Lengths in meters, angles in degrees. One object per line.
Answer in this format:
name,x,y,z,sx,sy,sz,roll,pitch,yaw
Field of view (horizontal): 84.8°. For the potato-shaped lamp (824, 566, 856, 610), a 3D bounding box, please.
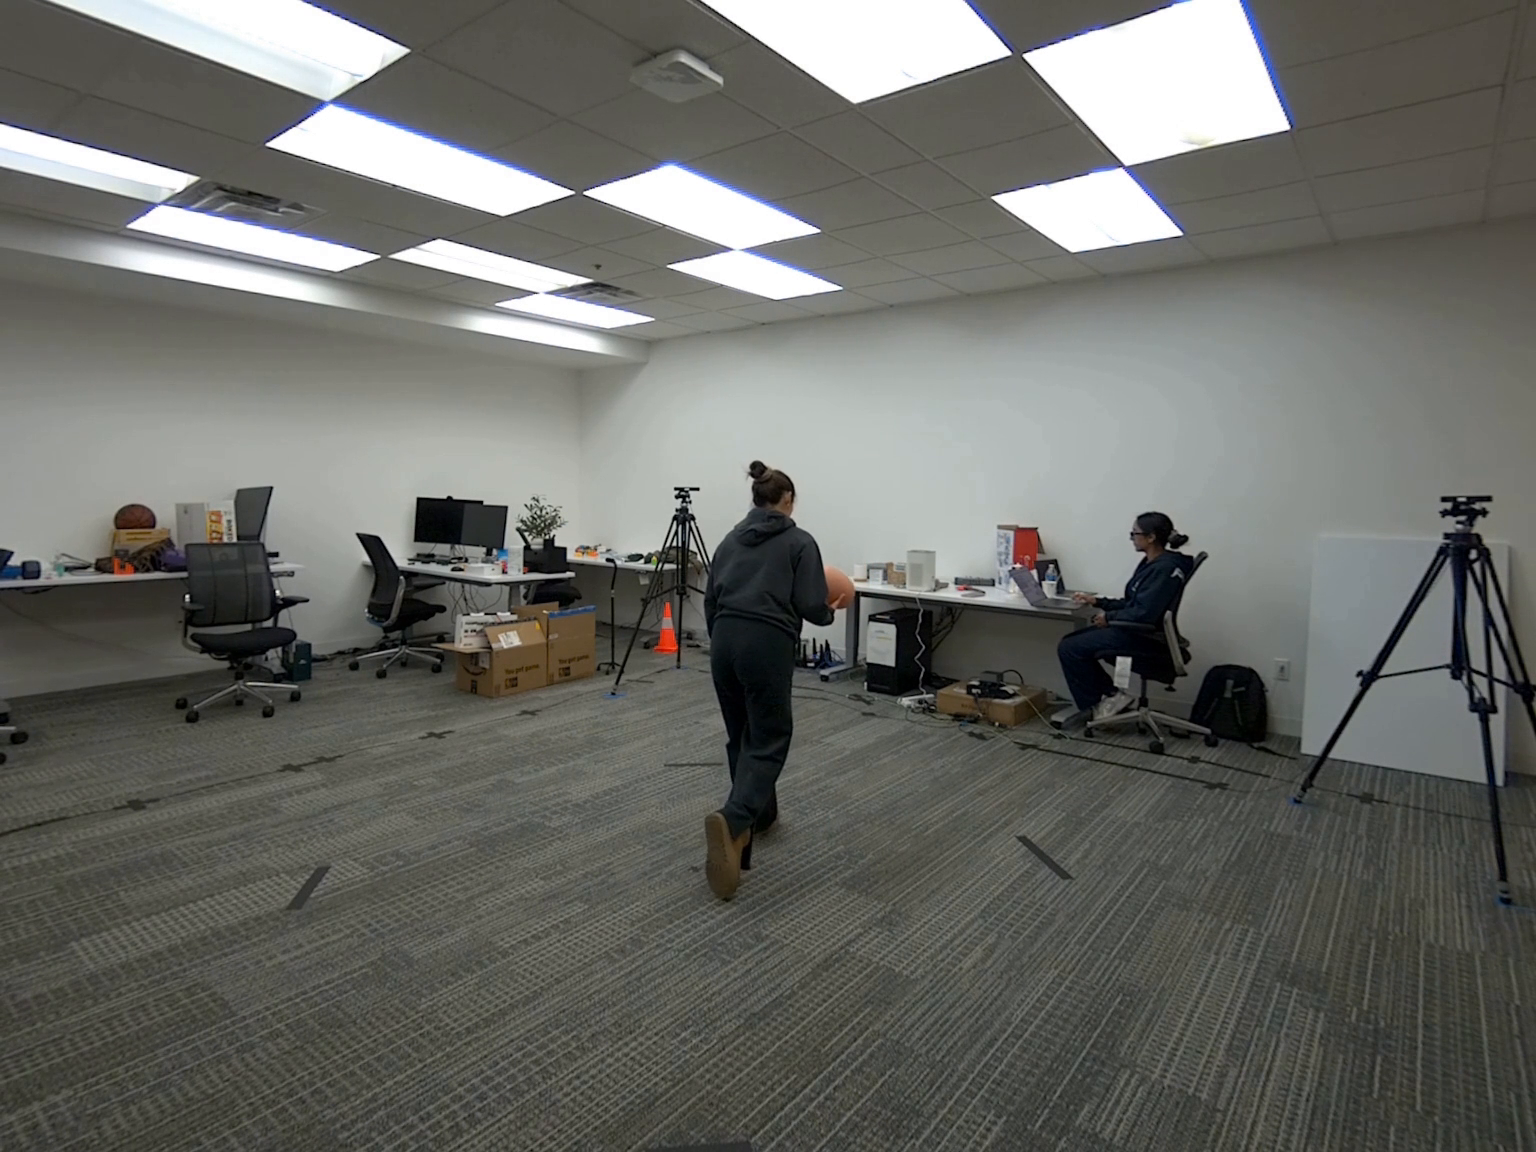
potato-shaped lamp,0.267,0.056,3.606,0.193,0.169,0.172,33,-54,-21
